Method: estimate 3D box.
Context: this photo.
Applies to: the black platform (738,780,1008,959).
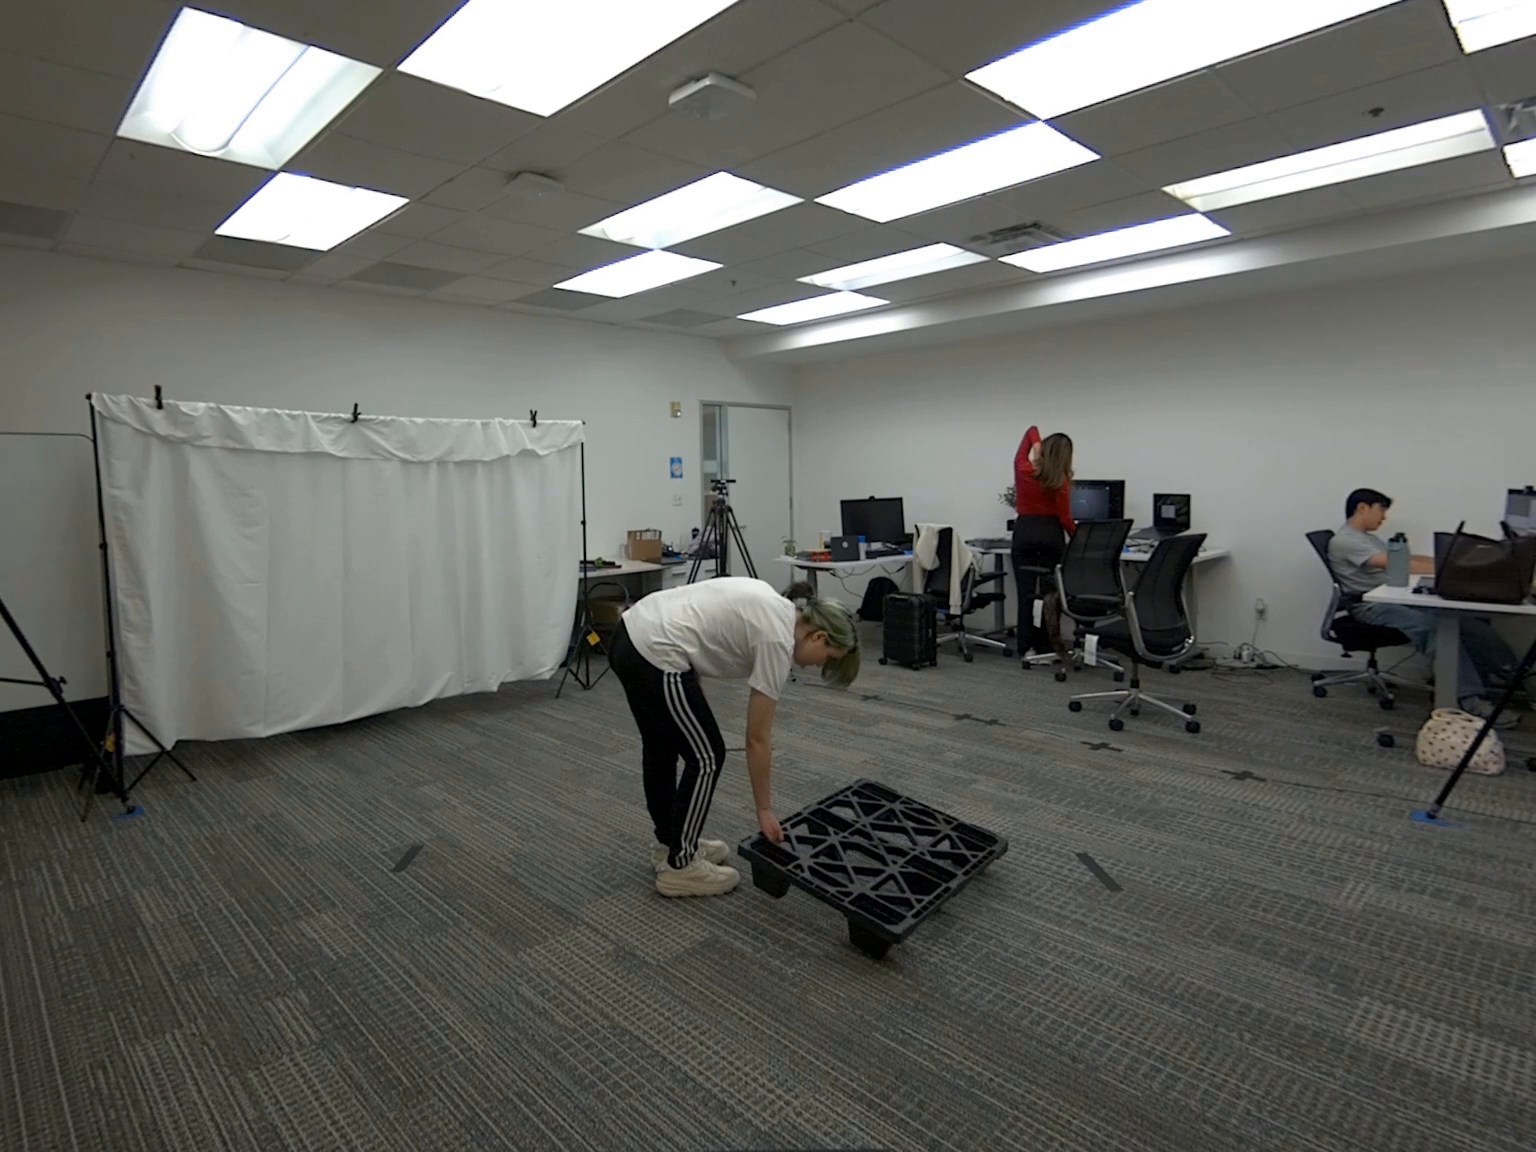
[{"bbox_3d":[0.374,0.963,2.884,0.626,0.142,0.785,17,16,37],"label":"black platform"}]
